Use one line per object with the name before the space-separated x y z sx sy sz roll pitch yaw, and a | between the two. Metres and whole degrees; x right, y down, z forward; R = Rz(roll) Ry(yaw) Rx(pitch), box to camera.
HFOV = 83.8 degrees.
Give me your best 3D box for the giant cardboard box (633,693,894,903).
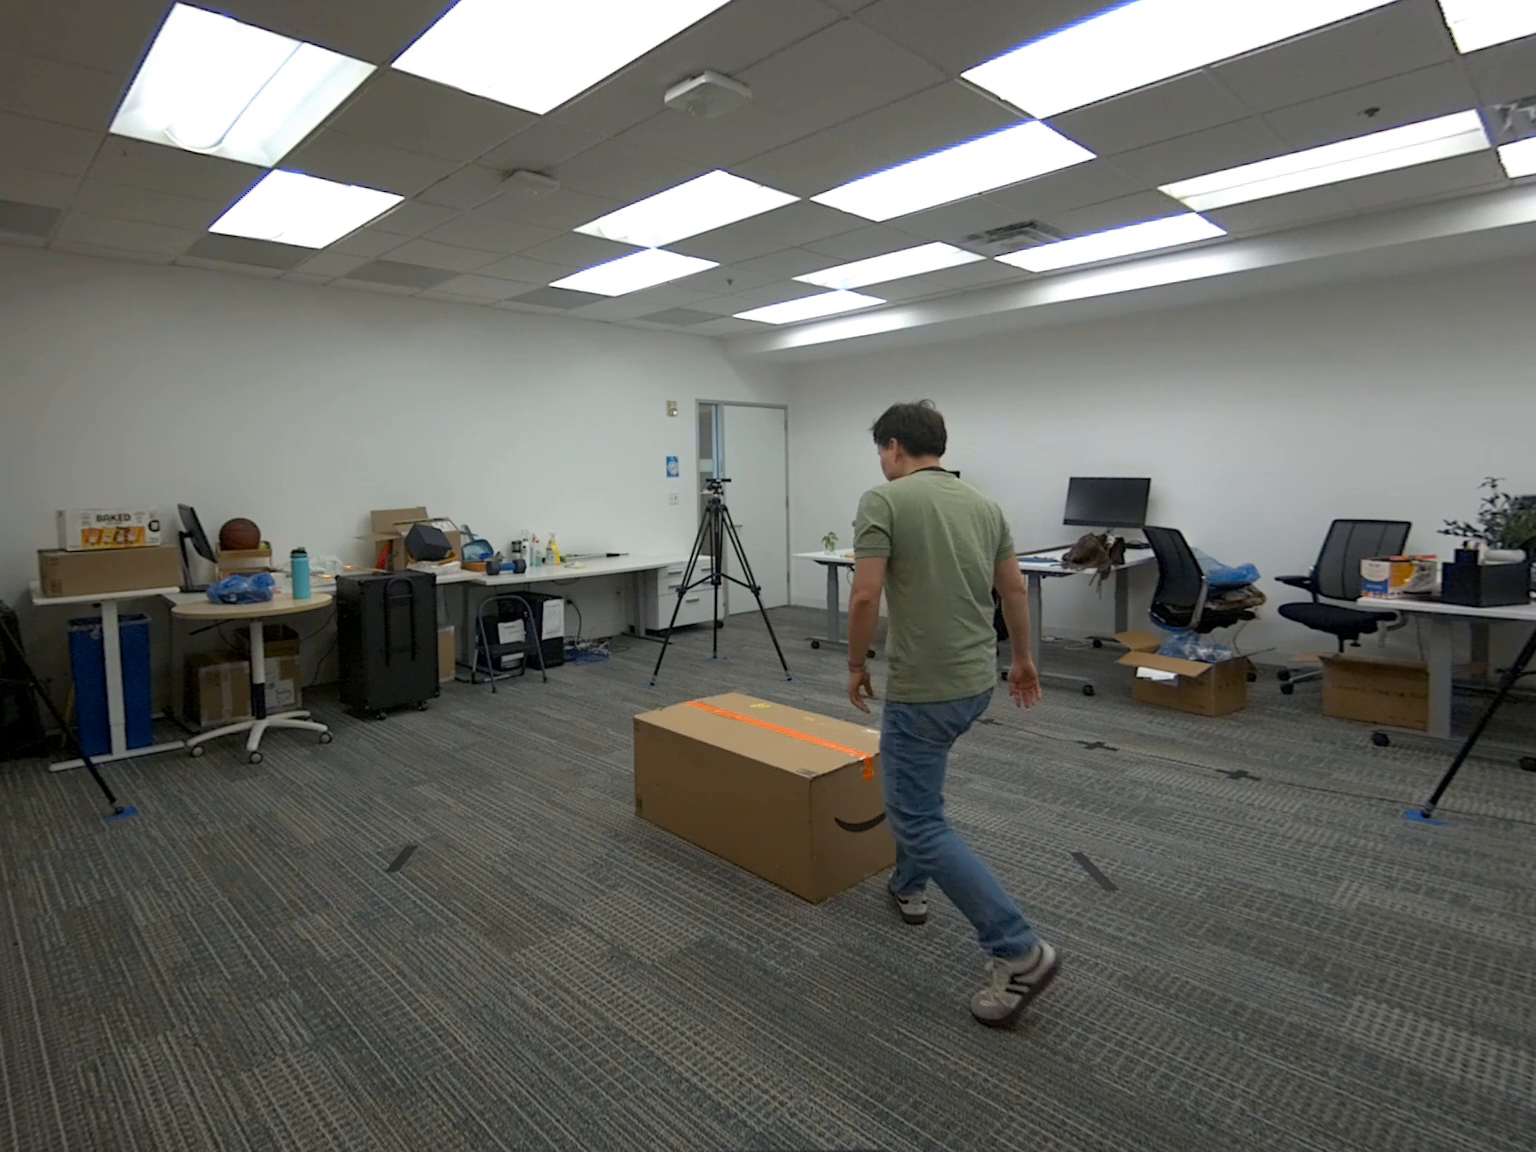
giant cardboard box | -0.002 0.802 3.356 0.562 0.424 1.058 -5 7 -42
